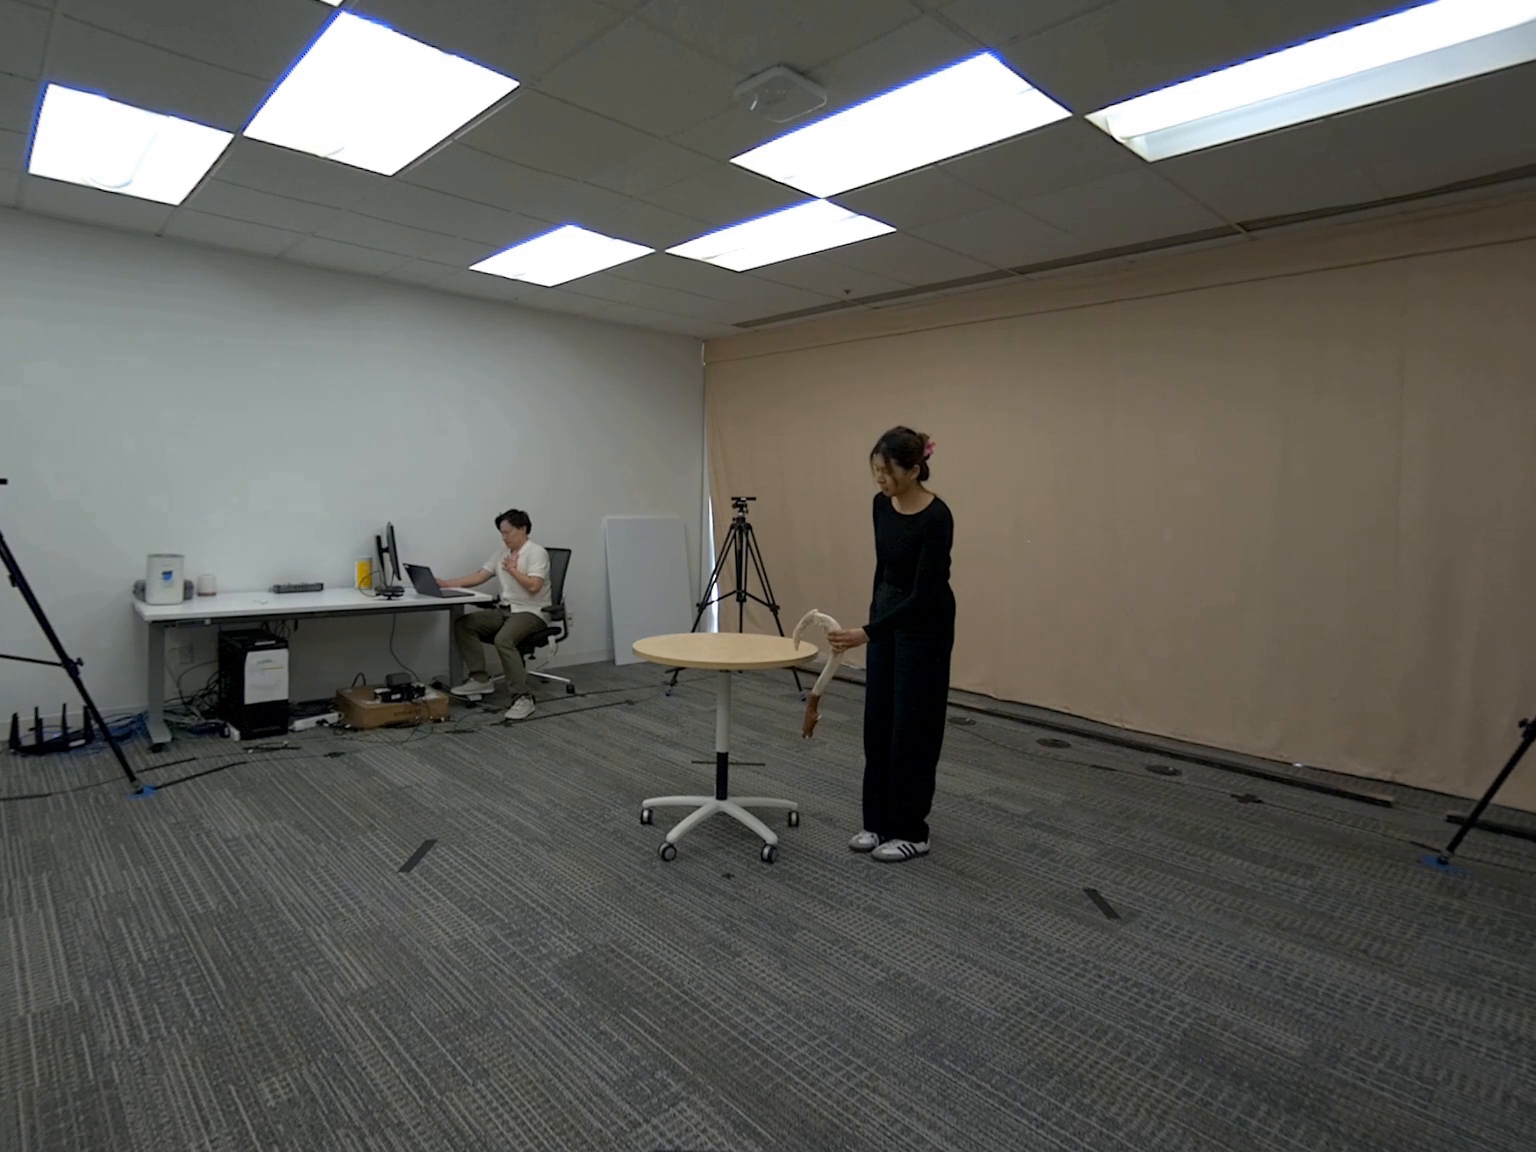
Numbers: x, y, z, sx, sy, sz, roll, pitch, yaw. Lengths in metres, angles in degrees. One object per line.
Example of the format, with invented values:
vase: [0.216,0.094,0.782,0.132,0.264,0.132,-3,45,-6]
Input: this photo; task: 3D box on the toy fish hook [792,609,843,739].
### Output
toy fish hook: [0.155,0.368,3.127,0.047,0.500,0.232,-10,31,-42]
